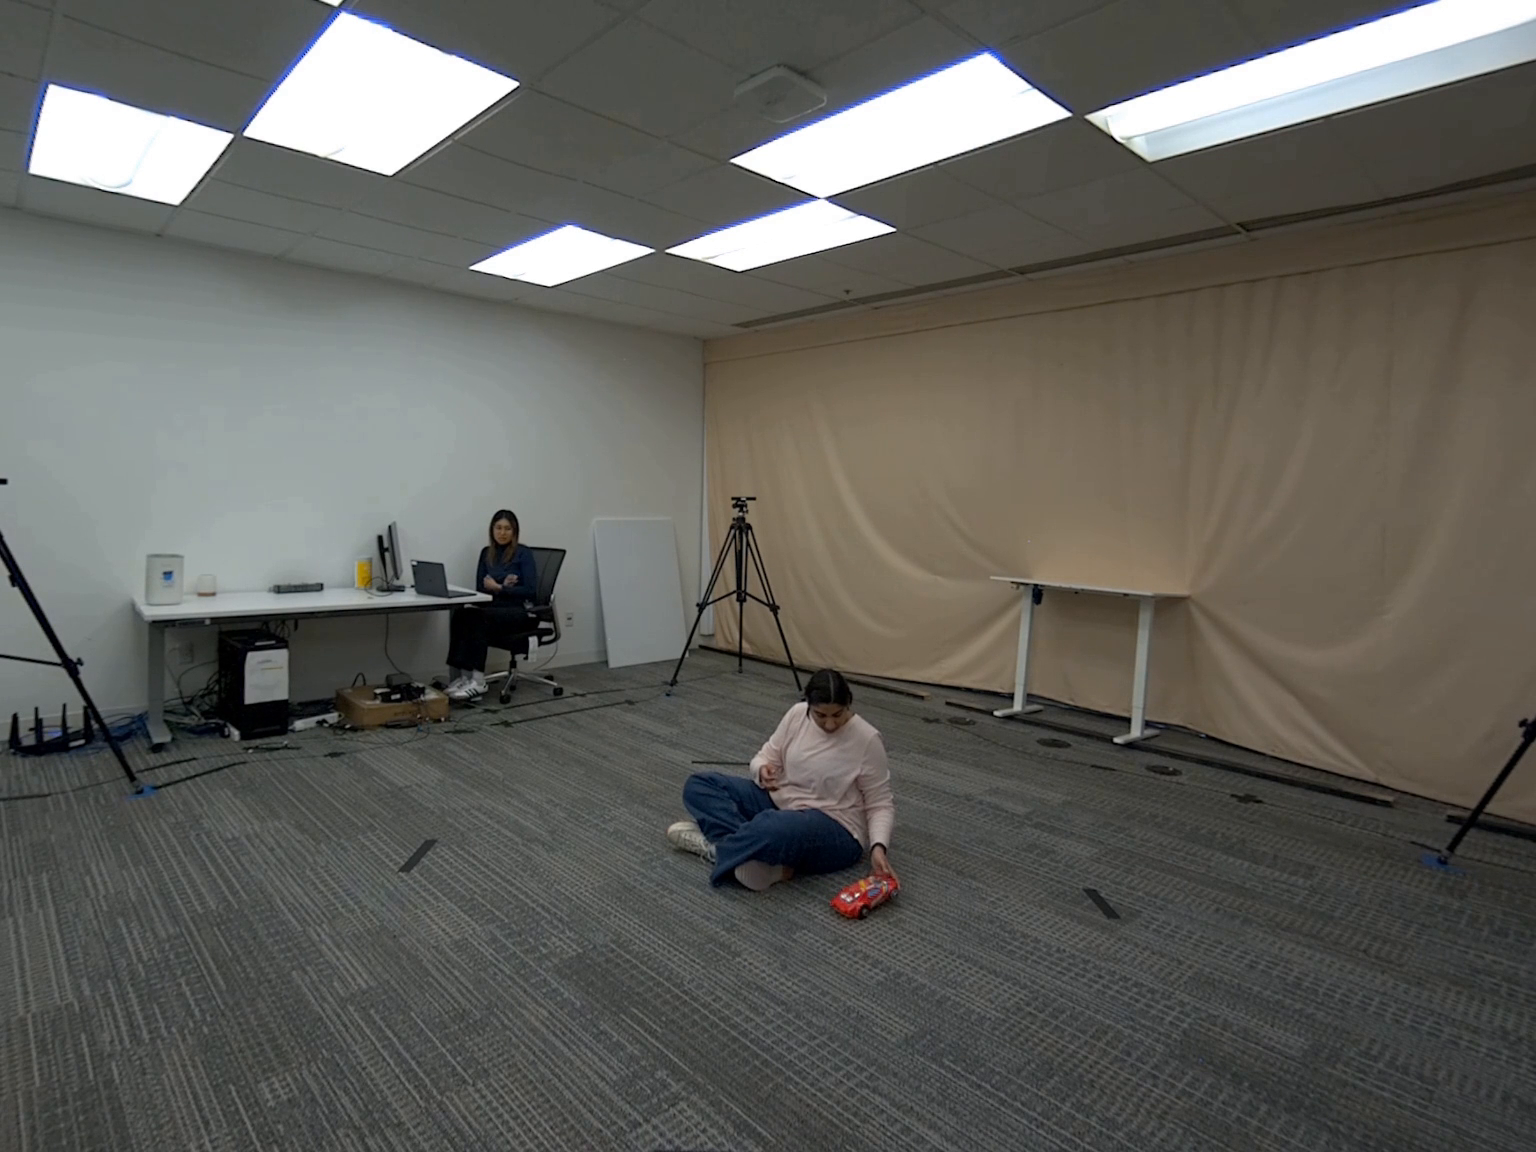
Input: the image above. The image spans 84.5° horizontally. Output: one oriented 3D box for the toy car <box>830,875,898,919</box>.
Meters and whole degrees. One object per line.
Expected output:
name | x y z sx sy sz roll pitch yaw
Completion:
toy car | 0.316 1.100 2.869 0.249 0.083 0.133 1 4 -35
